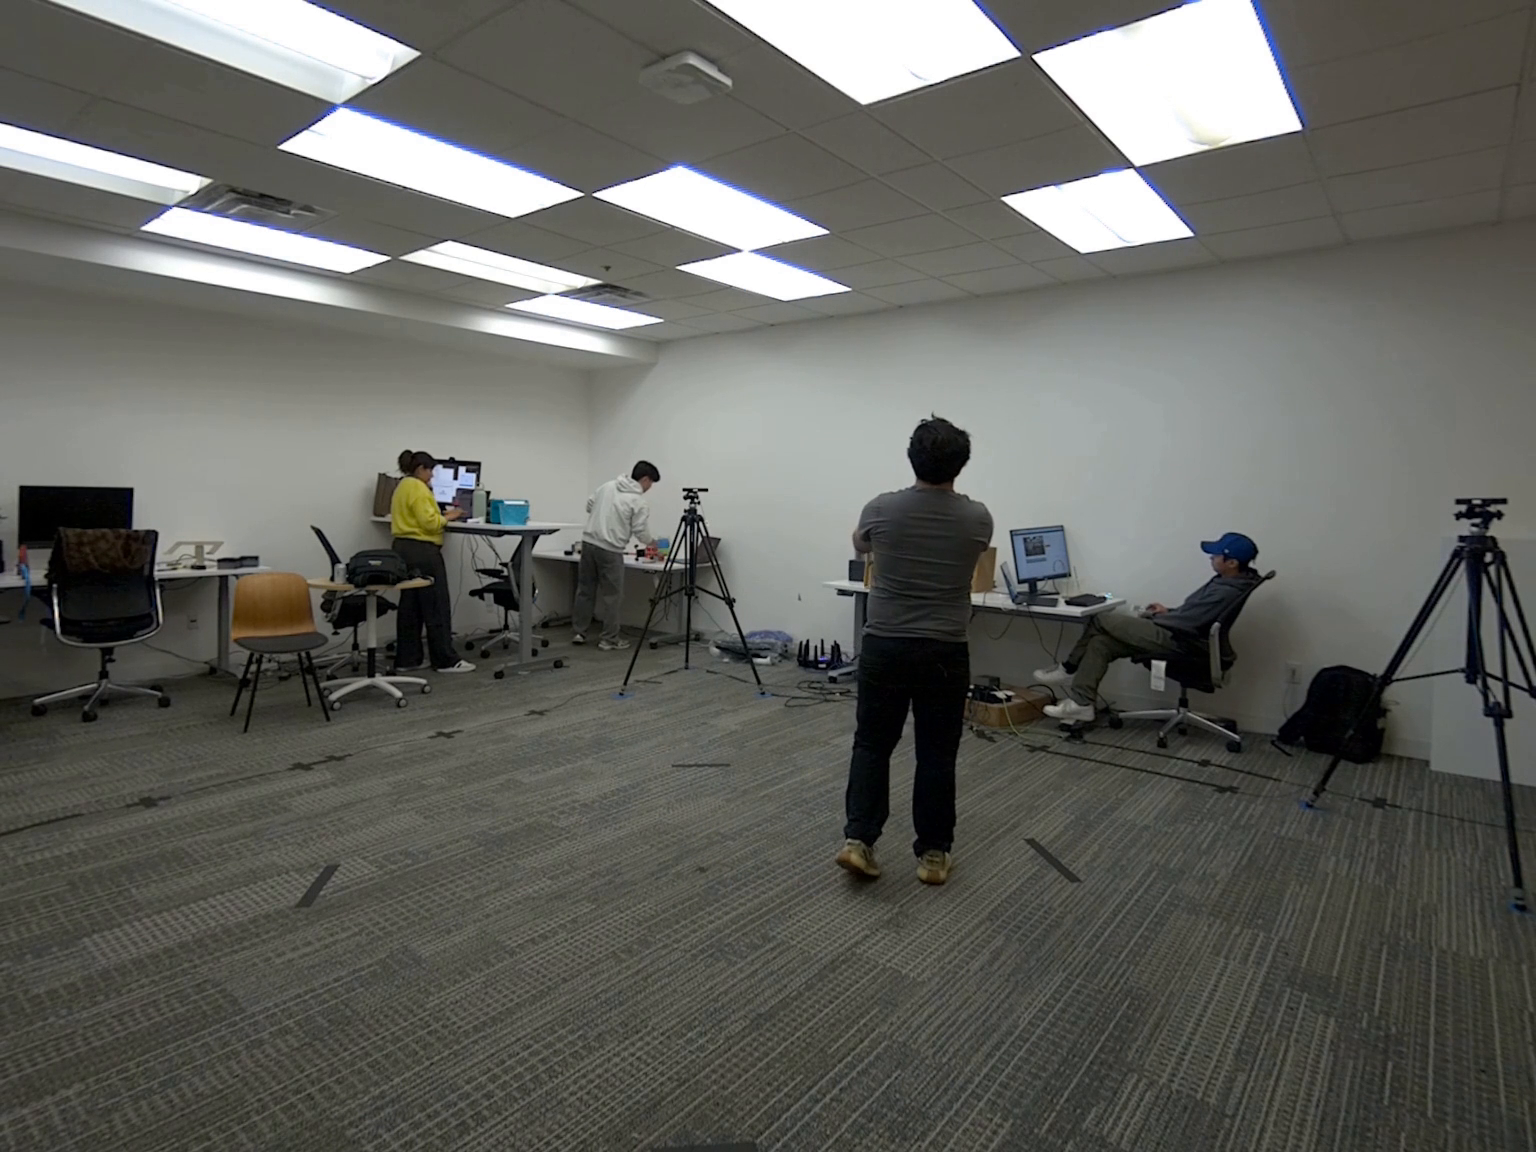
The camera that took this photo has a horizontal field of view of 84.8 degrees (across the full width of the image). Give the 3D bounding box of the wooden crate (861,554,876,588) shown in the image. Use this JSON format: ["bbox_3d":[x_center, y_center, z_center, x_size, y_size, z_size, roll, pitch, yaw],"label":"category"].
[{"bbox_3d":[0.580,-0.076,3.678,0.326,0.274,0.300,2,-2,3],"label":"wooden crate"}]
